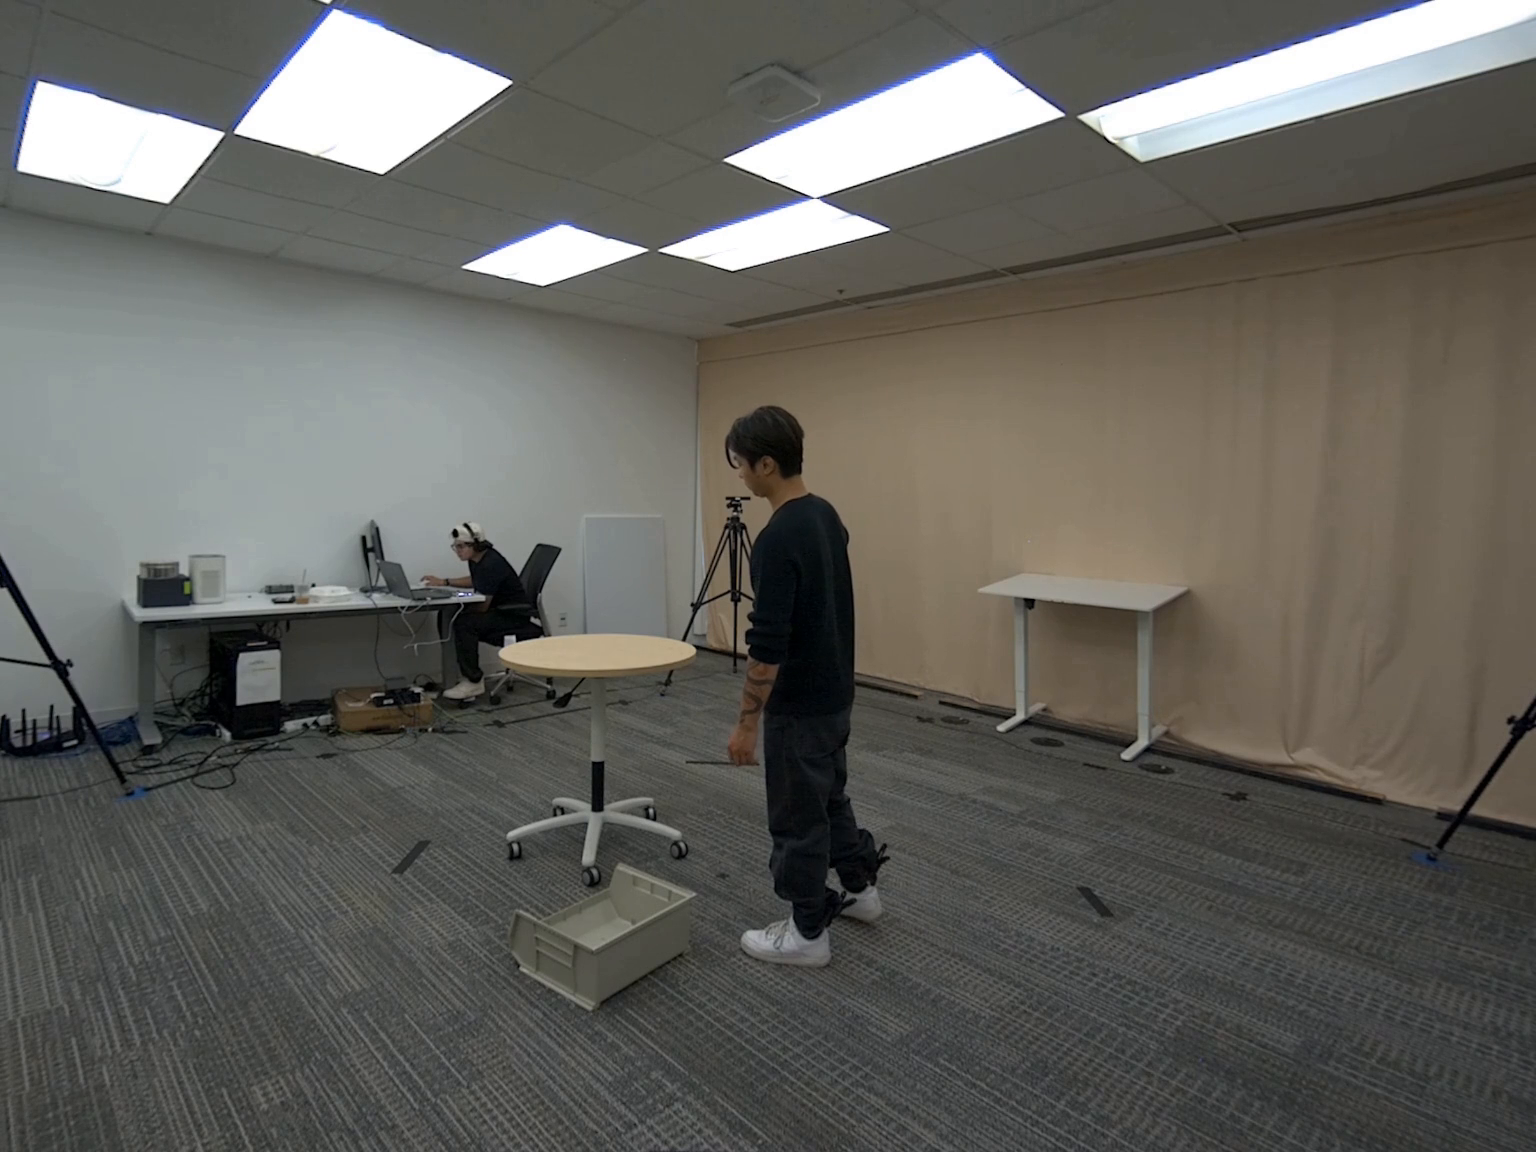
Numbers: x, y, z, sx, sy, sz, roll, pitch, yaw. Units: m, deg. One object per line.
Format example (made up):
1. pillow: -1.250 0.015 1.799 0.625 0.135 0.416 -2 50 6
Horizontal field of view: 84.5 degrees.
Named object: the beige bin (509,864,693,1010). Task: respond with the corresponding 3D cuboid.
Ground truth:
1. beige bin: -0.499 1.061 2.528 0.387 0.188 0.413 6 6 36
